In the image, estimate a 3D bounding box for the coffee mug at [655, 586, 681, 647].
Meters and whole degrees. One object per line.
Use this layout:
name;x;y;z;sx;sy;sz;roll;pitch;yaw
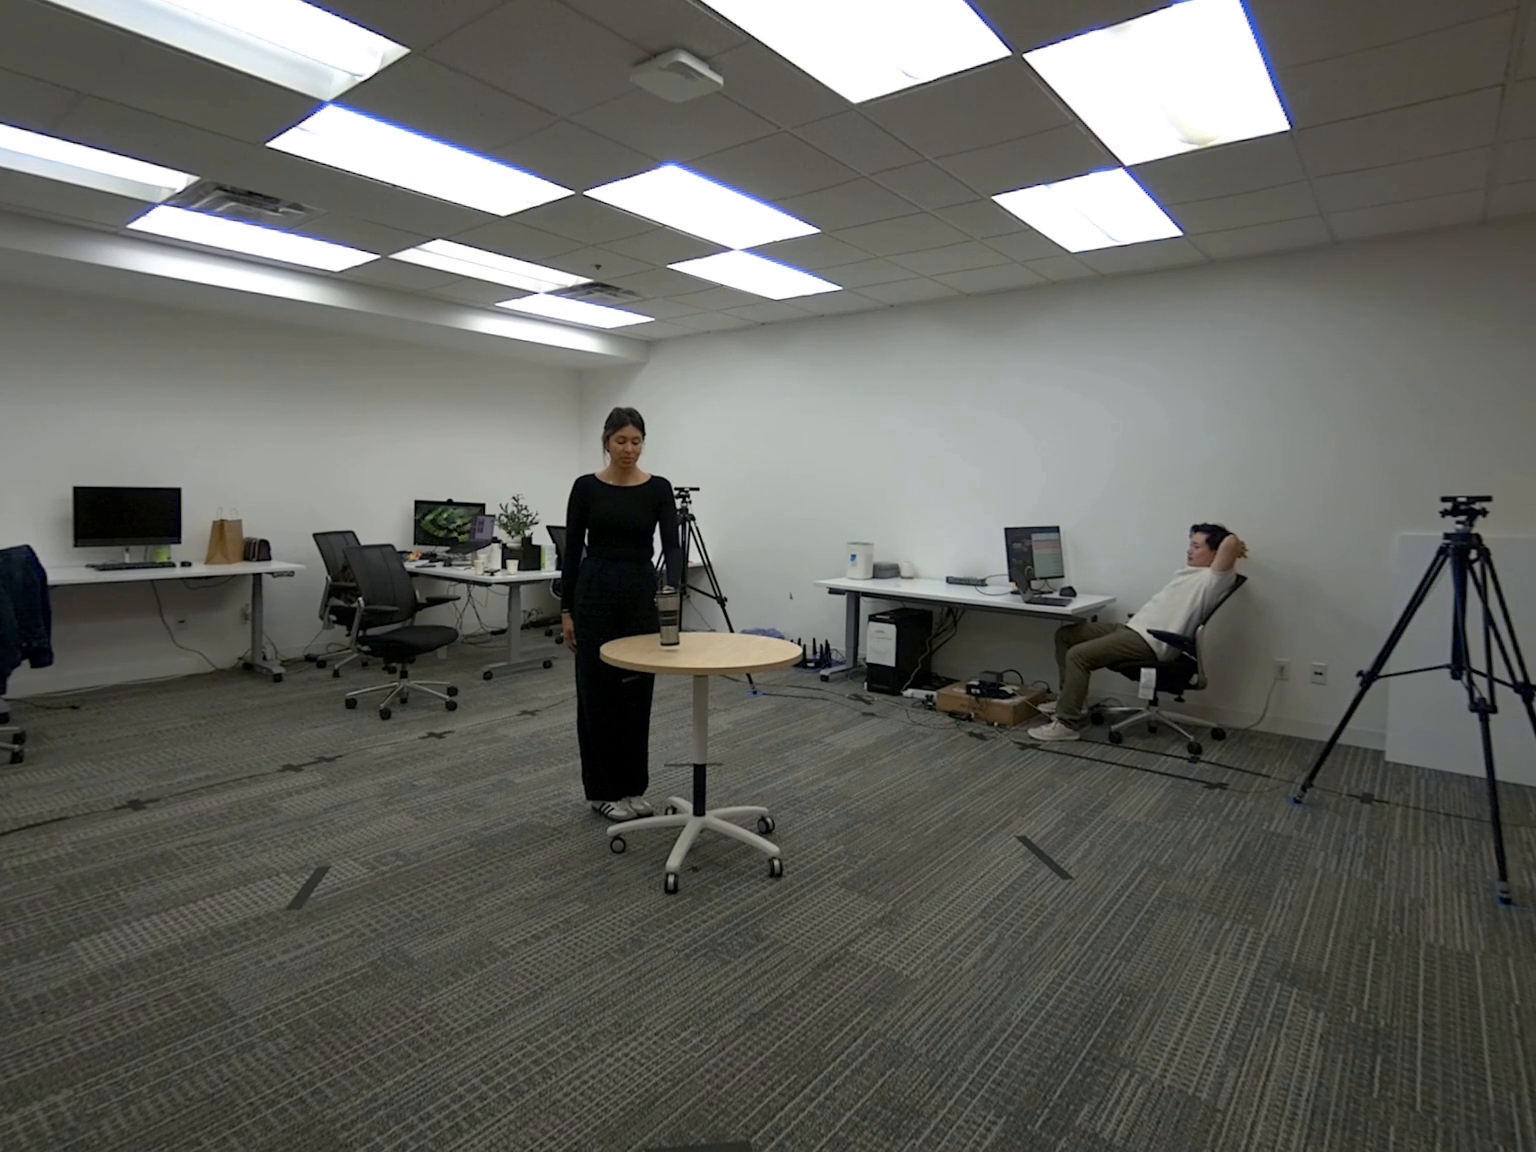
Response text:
coffee mug;-0.375;0.154;3.182;0.089;0.203;0.120;-7;0;17
